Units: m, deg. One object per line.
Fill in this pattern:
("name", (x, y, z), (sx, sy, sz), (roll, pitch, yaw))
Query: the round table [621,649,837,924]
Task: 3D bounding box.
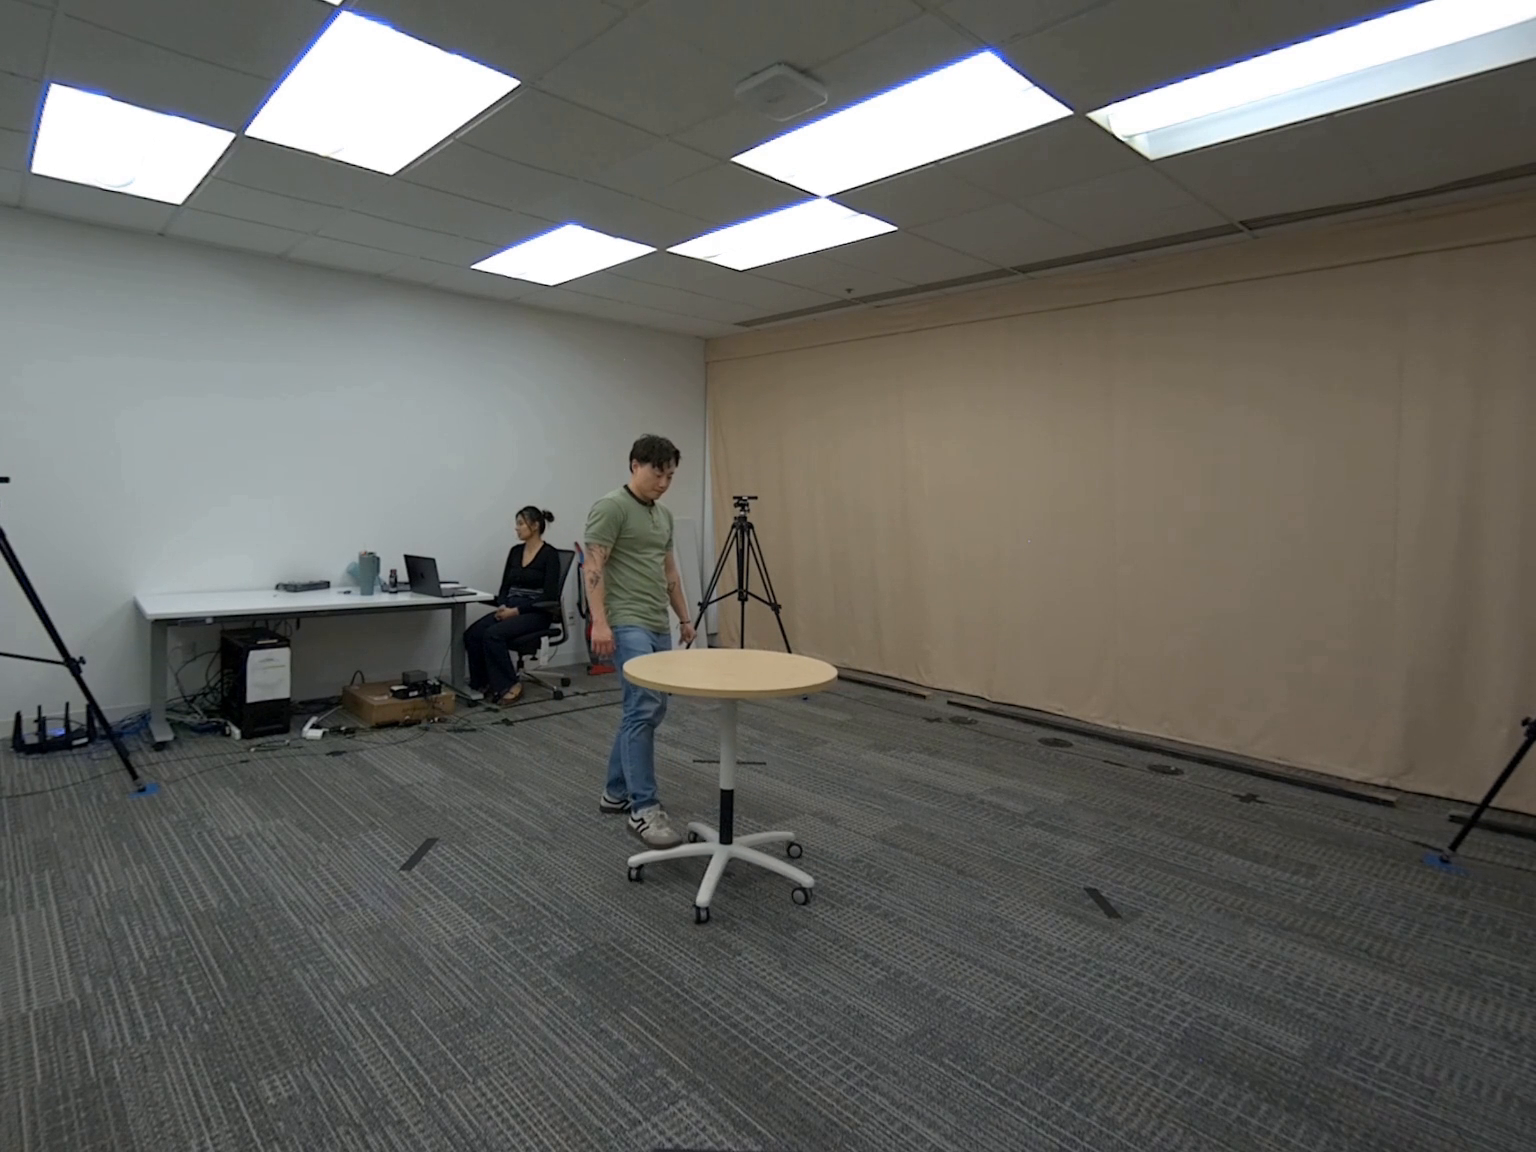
("round table", (-0.148, 0.721, 3.030), (0.763, 0.792, 0.766), (1, 4, -1))
